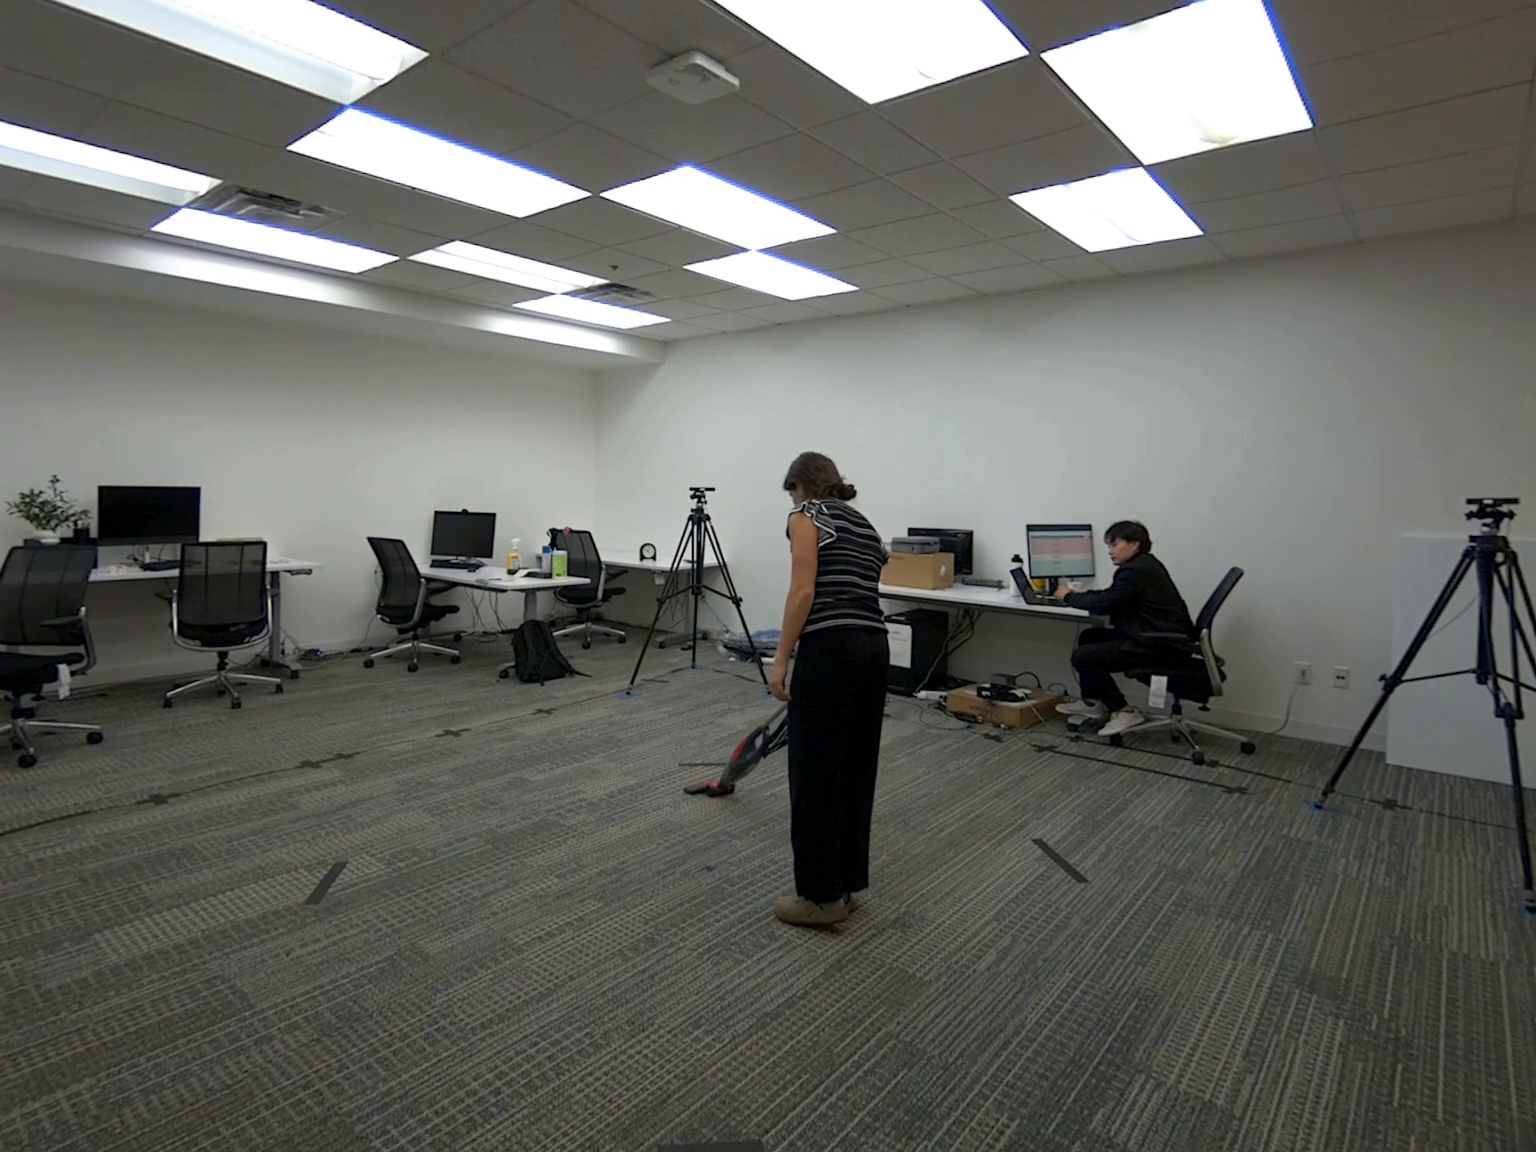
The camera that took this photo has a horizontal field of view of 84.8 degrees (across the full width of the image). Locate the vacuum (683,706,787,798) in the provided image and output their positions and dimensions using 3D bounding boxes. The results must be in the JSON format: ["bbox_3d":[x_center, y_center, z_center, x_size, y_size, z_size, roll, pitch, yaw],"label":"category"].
[{"bbox_3d":[-0.016,0.676,3.571,0.246,0.148,1.045,-7,-31,-39],"label":"vacuum"}]
